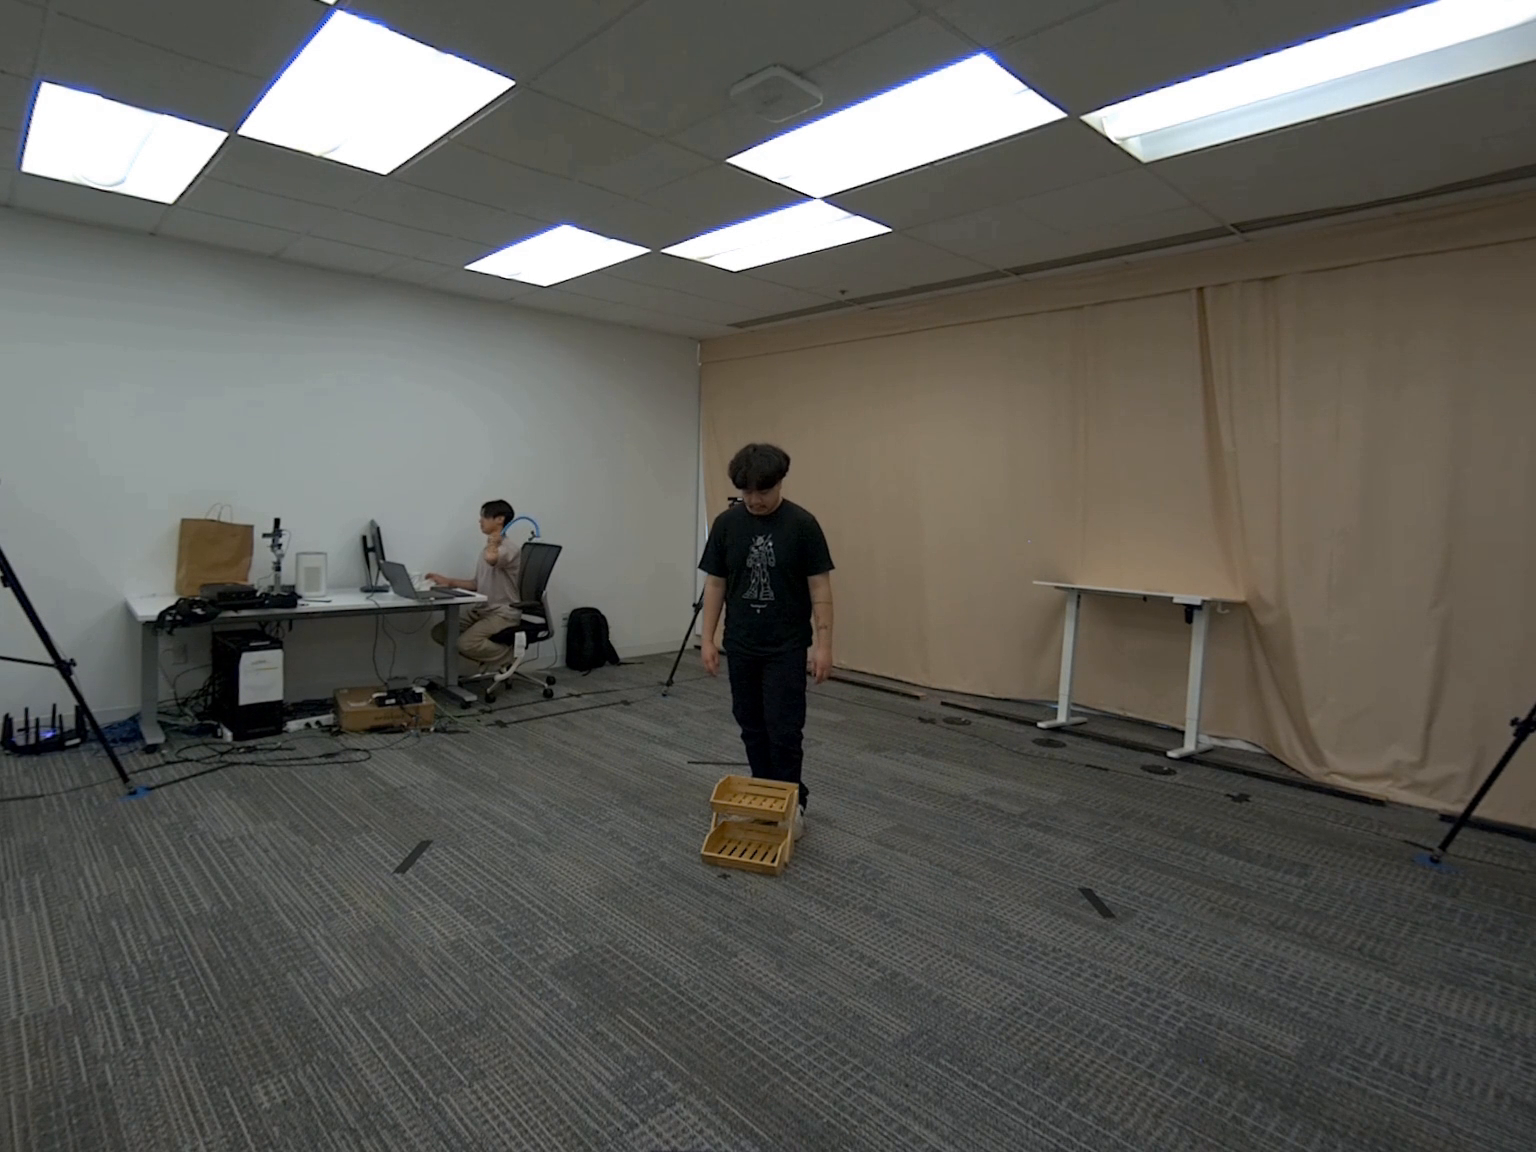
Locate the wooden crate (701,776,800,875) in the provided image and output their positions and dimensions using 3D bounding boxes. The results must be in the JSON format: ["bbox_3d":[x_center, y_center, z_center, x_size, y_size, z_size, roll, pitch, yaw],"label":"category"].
[{"bbox_3d":[-0.072,0.958,3.275,0.329,0.273,0.298,3,3,17],"label":"wooden crate"}]
